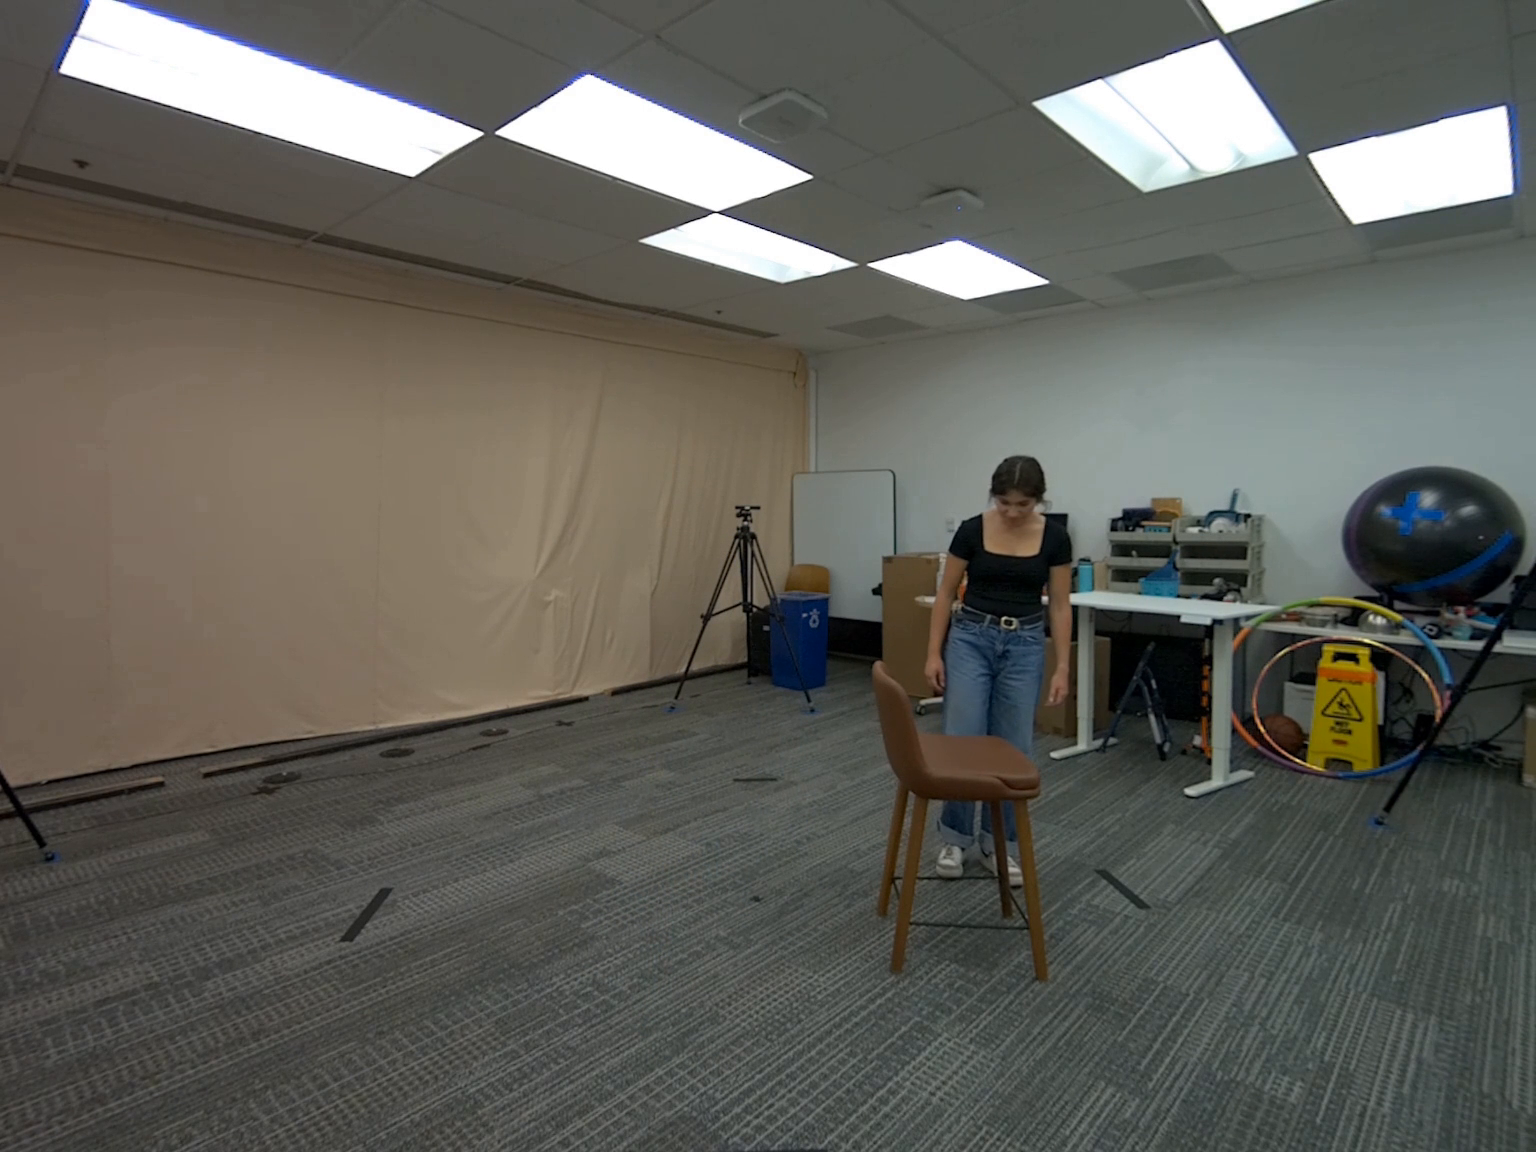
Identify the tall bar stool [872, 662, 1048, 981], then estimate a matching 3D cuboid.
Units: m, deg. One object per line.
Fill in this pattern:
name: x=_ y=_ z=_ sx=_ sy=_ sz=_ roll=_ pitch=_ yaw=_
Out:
tall bar stool: x=0.598 y=0.740 z=2.650 sx=0.470 sy=0.887 sz=0.455 roll=-2 pitch=4 yaw=4
